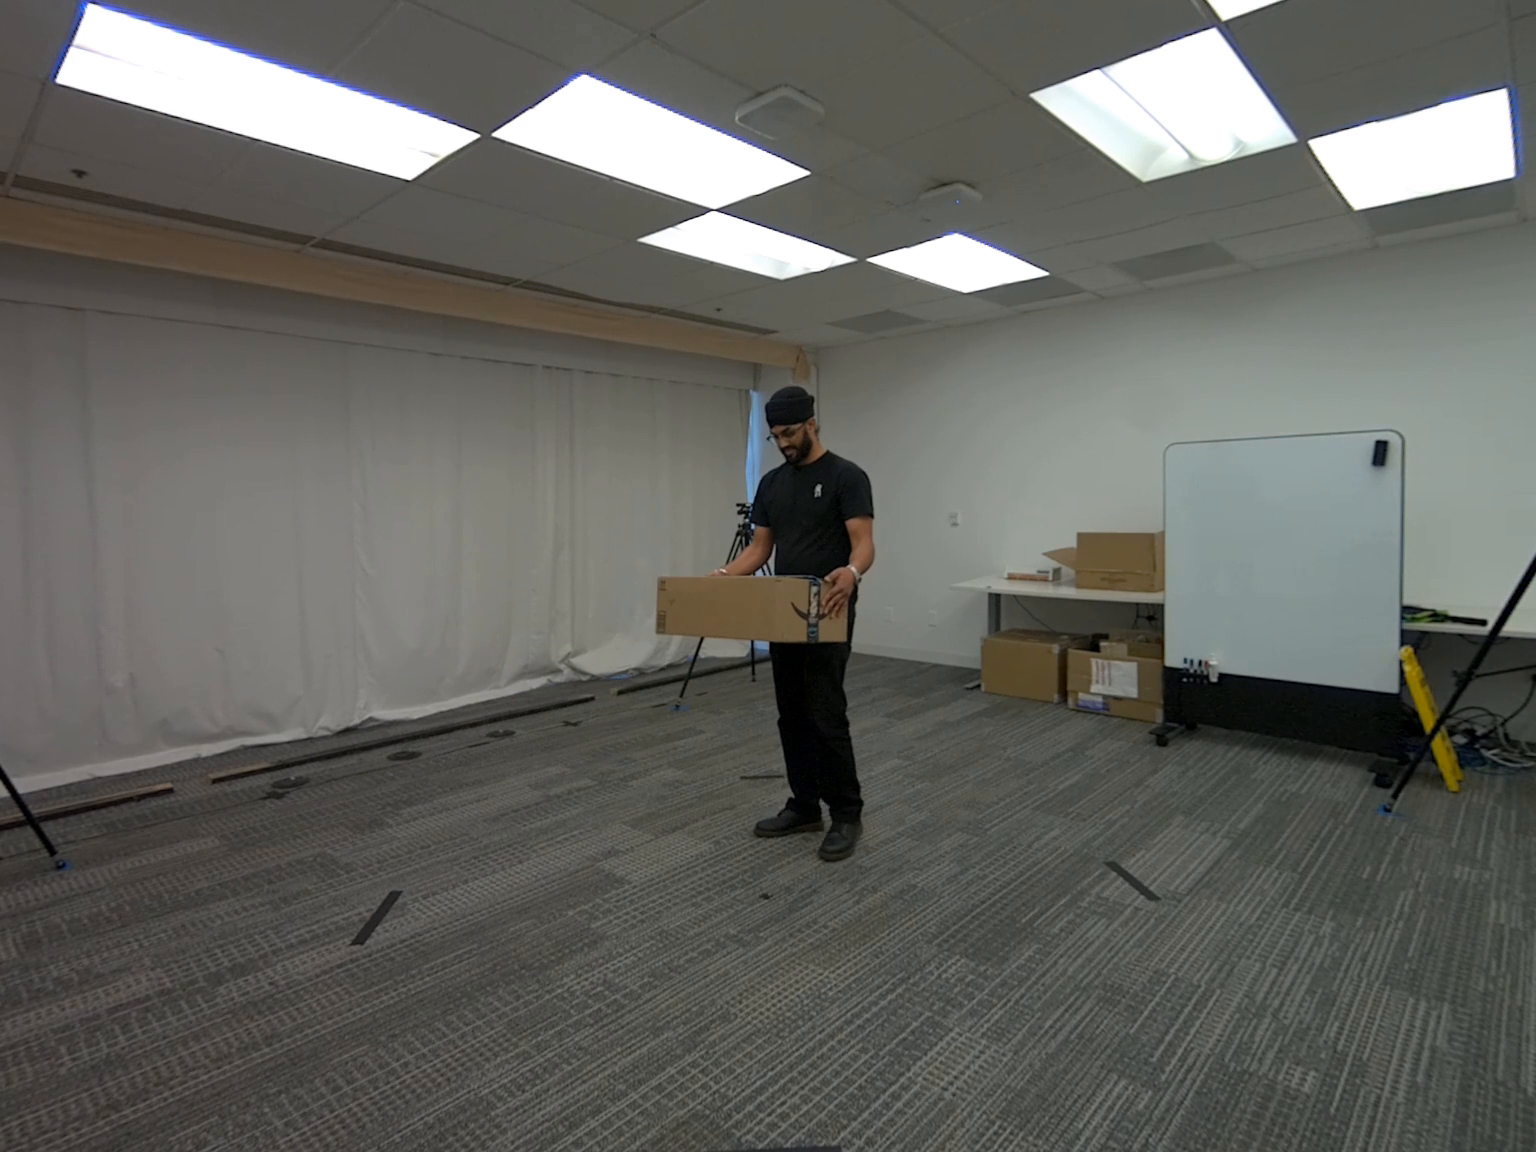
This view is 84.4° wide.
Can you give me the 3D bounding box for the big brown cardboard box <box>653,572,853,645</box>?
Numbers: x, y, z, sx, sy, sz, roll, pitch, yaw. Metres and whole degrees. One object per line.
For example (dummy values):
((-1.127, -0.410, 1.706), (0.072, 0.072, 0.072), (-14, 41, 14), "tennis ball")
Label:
((-0.058, 0.119, 3.079), (0.607, 0.234, 0.403), (-1, -4, 41), "big brown cardboard box")
